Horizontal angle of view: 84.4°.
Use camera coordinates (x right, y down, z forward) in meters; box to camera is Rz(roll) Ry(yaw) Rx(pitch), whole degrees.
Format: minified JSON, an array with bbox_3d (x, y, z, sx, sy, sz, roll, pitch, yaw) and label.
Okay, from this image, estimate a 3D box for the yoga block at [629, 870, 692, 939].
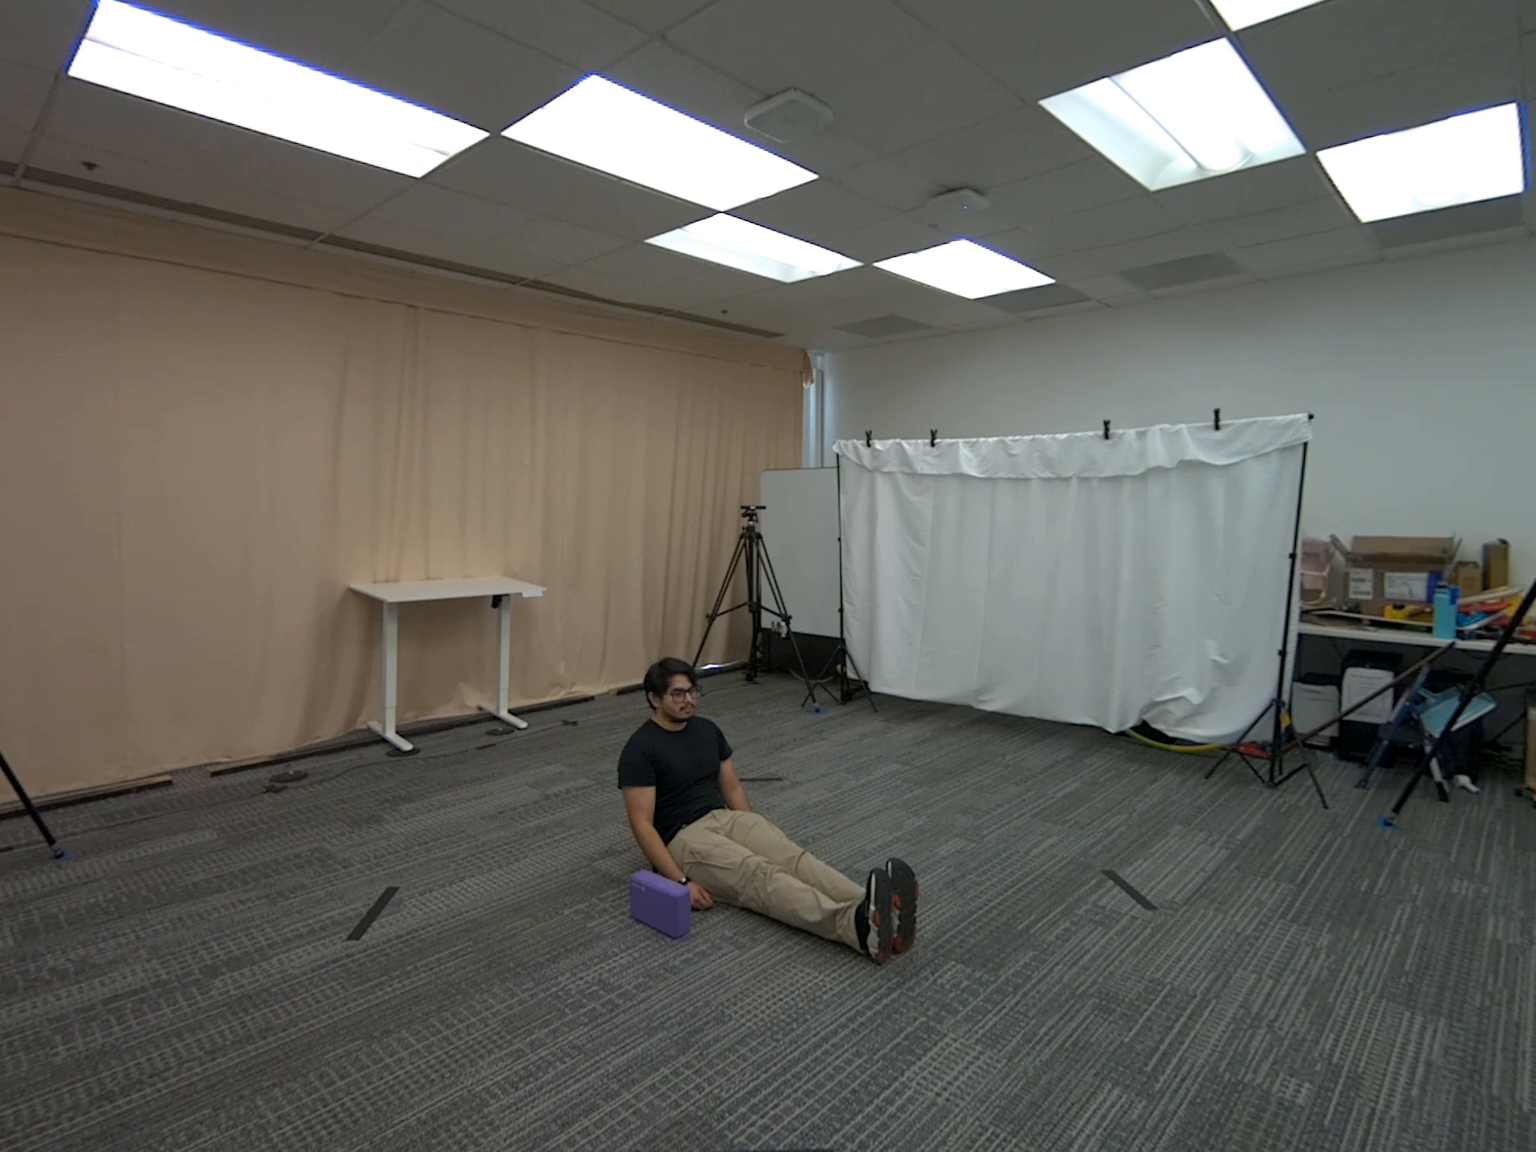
[{"bbox_3d":[-0.363,1.081,2.798,0.237,0.148,0.074,4,6,41],"label":"yoga block"}]
